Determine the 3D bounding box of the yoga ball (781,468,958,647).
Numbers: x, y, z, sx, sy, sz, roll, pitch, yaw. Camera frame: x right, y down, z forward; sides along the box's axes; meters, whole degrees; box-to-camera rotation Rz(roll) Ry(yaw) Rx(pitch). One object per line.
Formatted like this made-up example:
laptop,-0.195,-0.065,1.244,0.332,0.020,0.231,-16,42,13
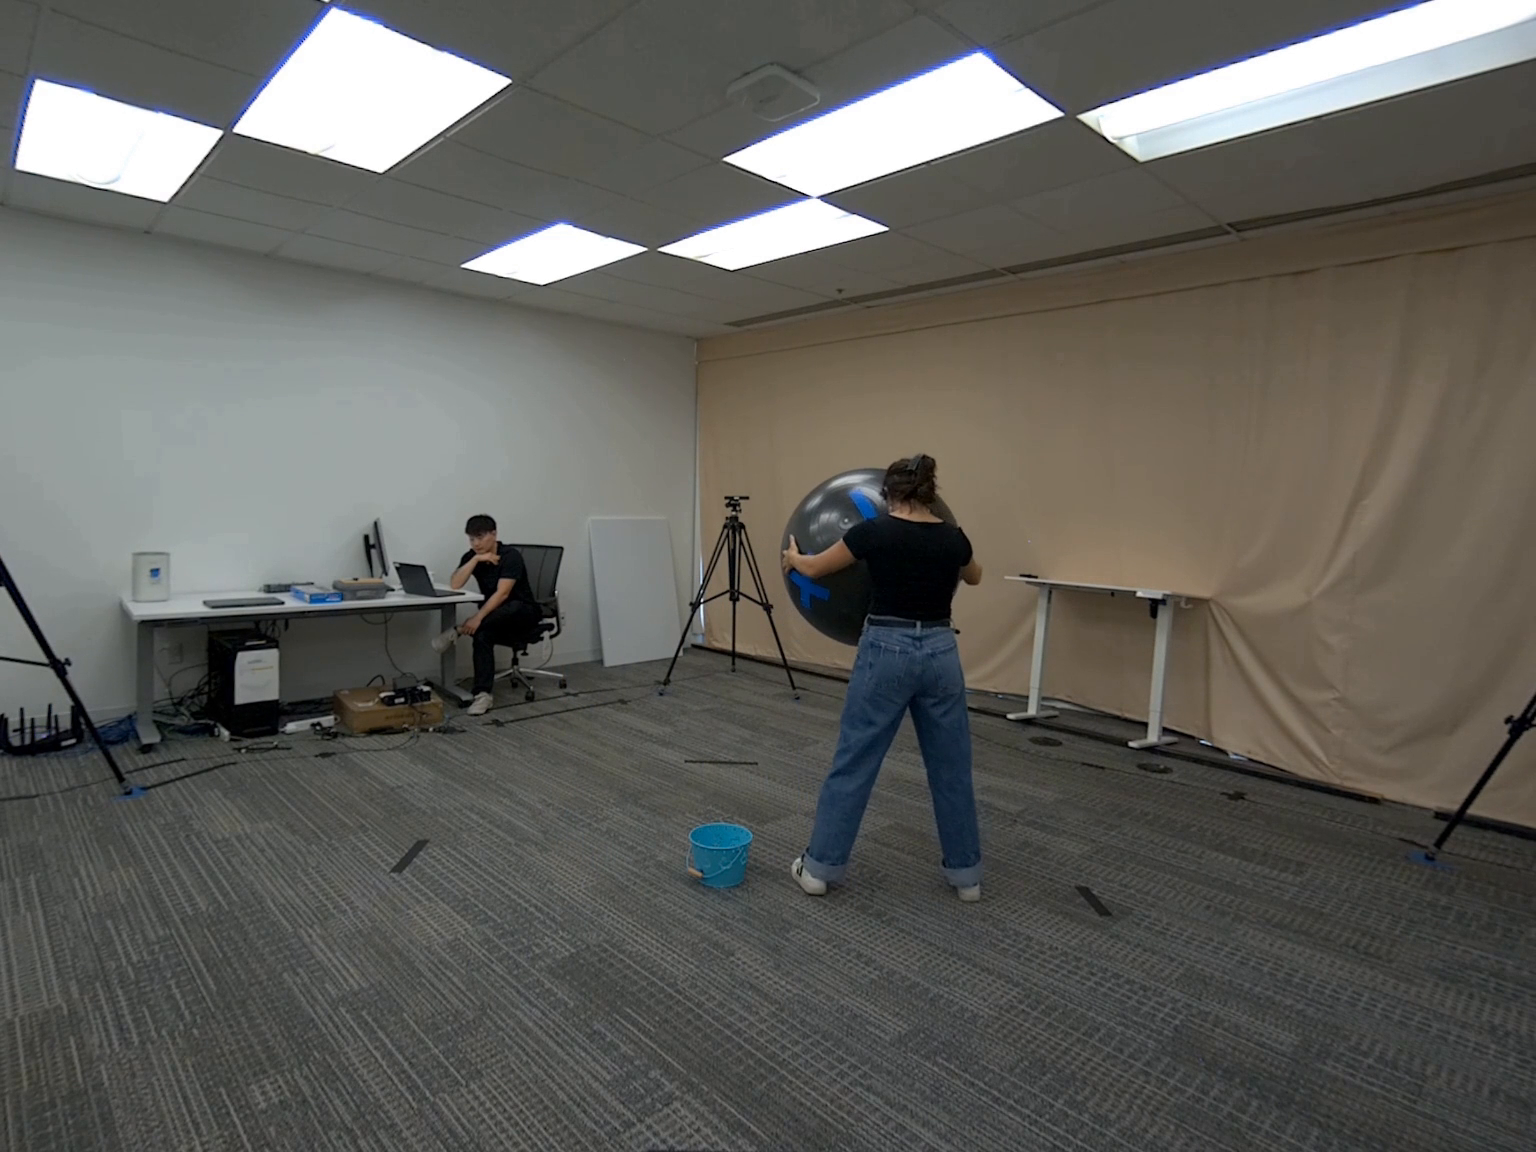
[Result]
yoga ball,0.423,-0.072,3.568,0.757,0.756,0.760,1,4,-1
